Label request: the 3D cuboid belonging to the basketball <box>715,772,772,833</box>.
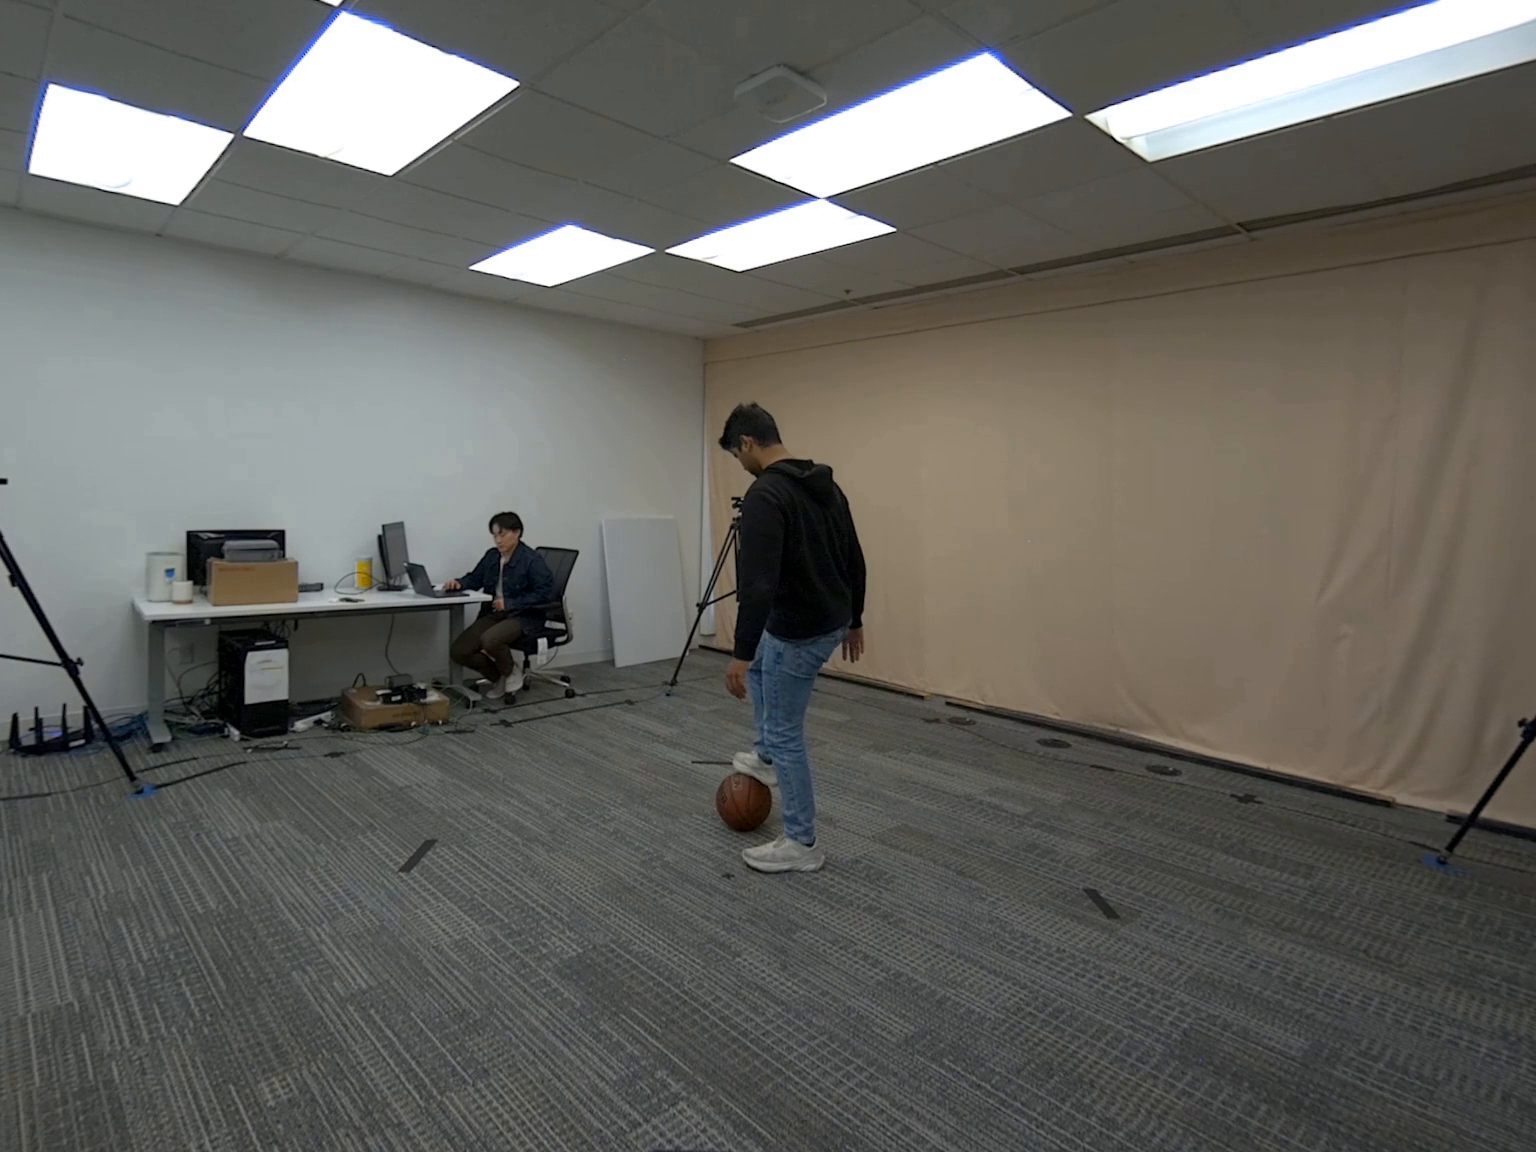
[{"bbox_3d":[-0.121,0.953,3.573,0.236,0.235,0.237,1,4,-1],"label":"basketball"}]
